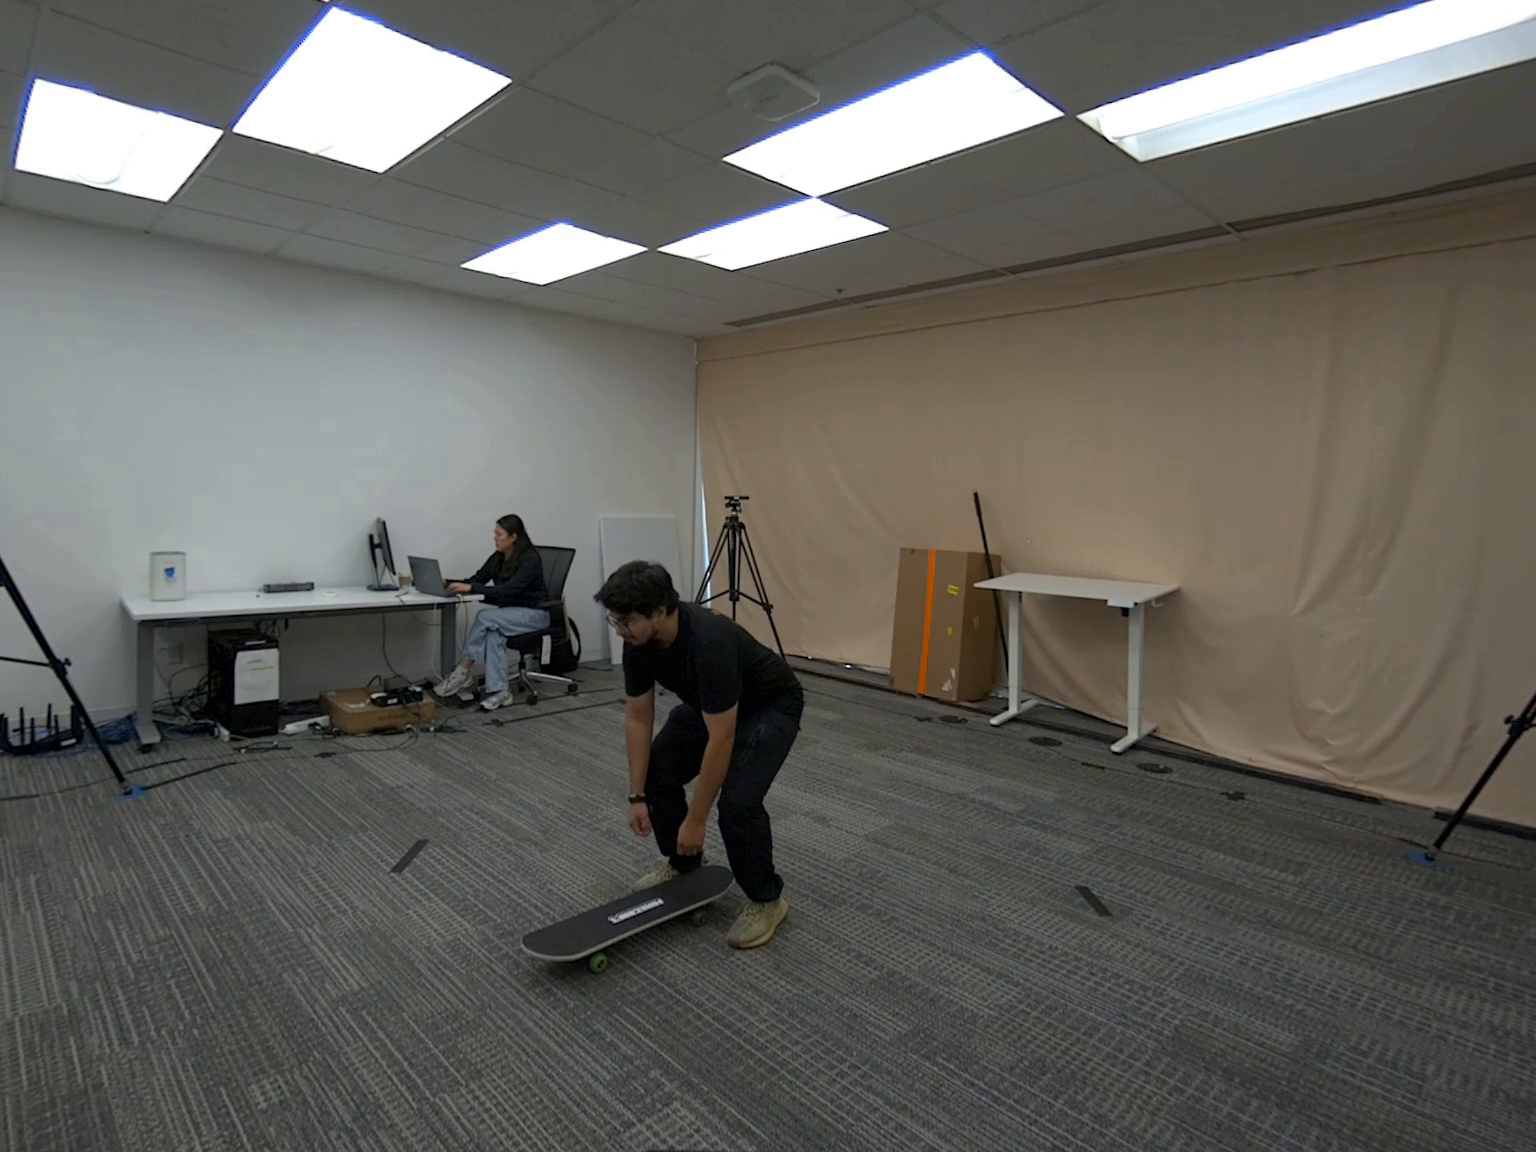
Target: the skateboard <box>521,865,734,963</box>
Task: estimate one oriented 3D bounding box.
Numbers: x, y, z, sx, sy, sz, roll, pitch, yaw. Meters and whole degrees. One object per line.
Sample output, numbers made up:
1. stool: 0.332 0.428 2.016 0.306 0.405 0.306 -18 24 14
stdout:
1. skateboard: -0.418 1.087 2.643 0.198 0.110 0.768 5 6 44
